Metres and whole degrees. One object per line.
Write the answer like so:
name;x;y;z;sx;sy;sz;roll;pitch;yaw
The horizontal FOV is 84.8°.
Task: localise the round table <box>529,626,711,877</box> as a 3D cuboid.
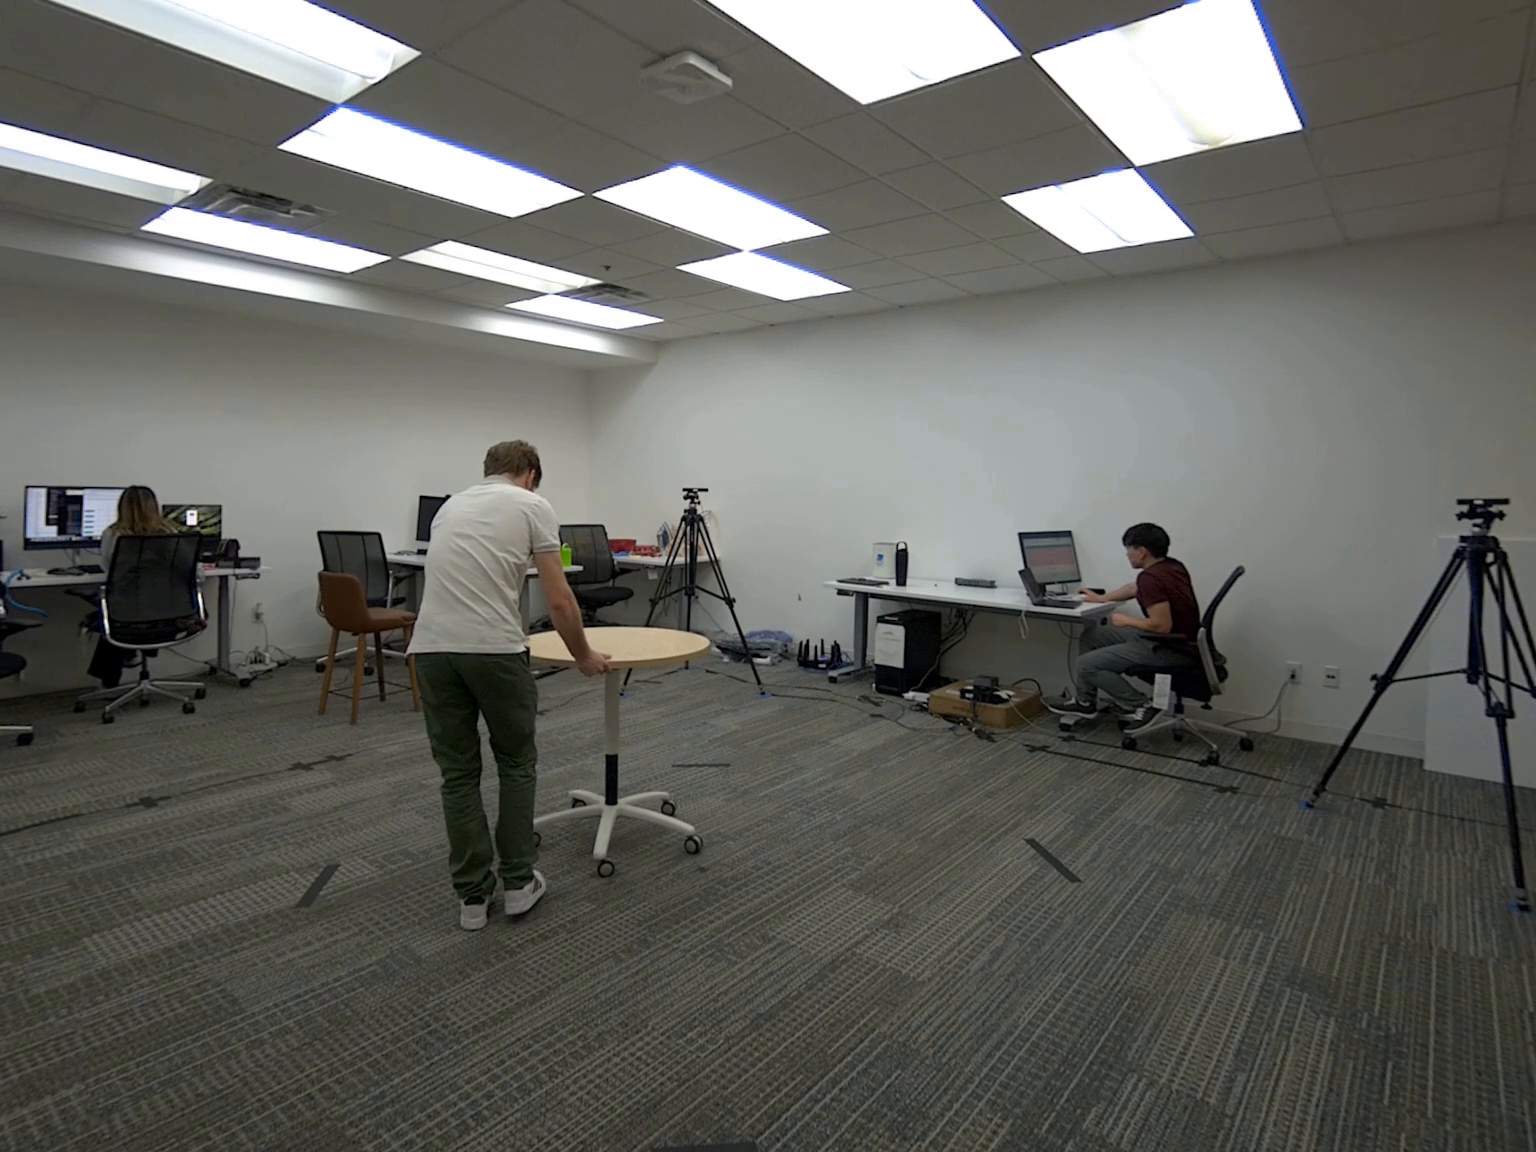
round table;-0.622;0.646;3.340;0.784;0.784;0.789;0;4;-2
